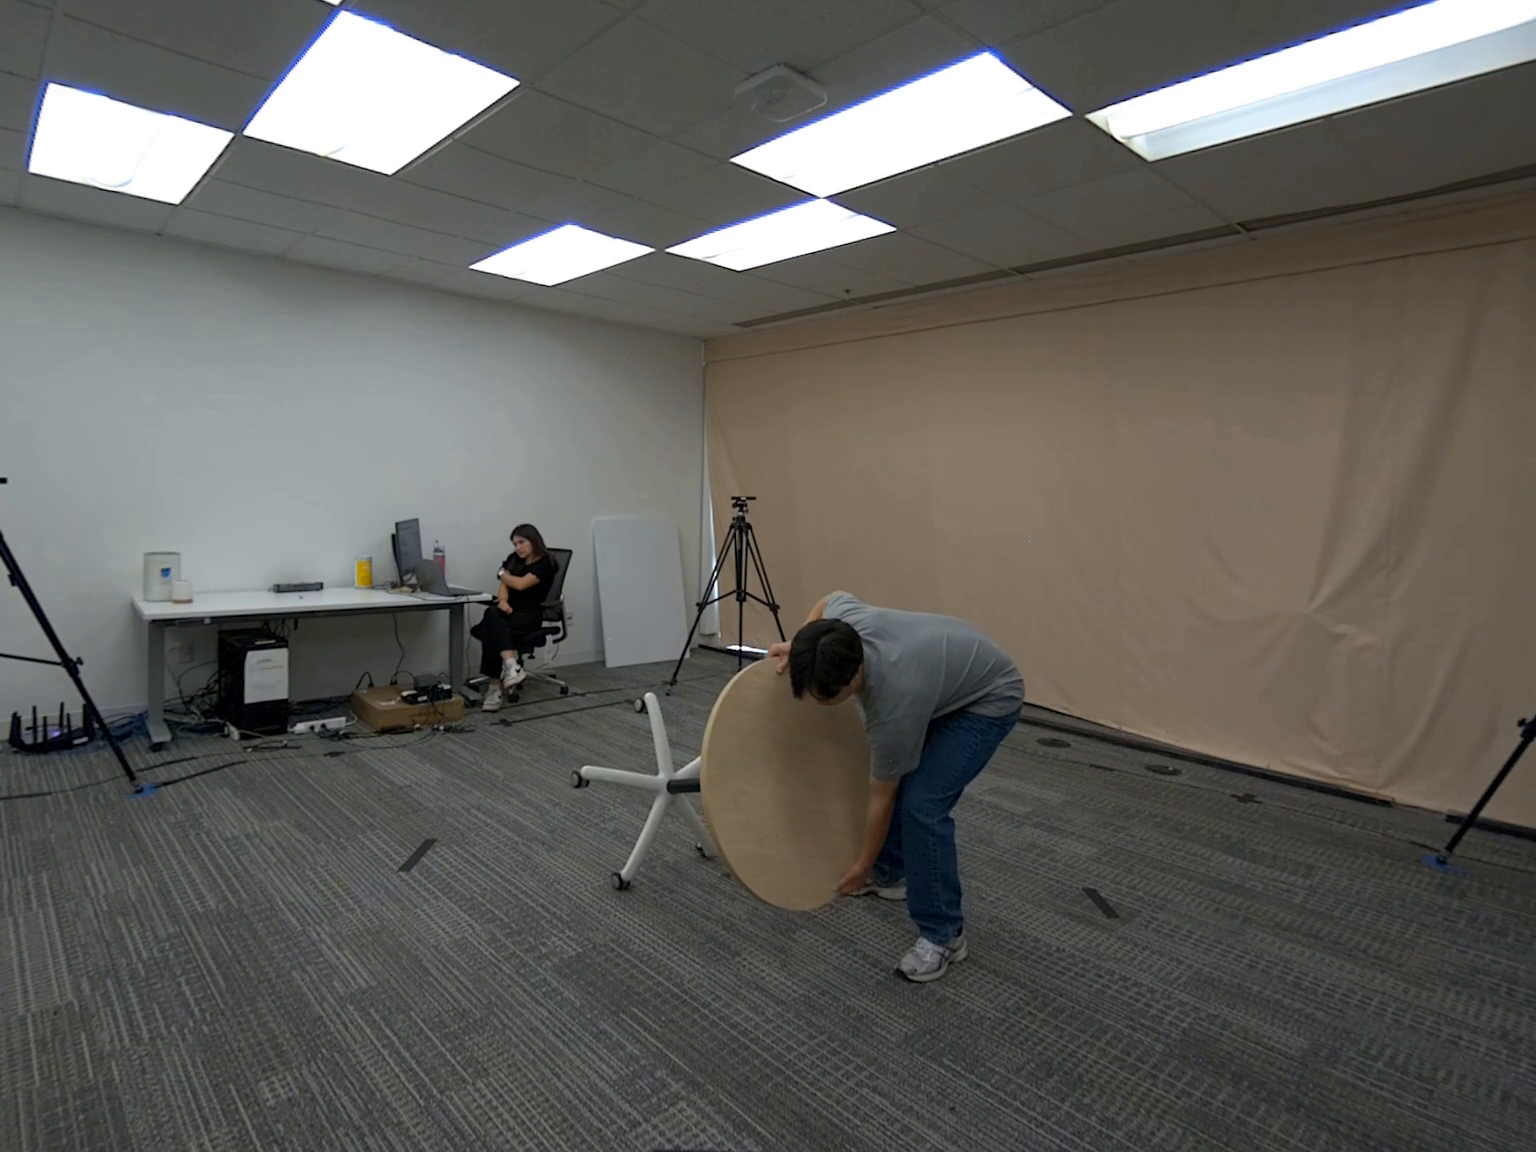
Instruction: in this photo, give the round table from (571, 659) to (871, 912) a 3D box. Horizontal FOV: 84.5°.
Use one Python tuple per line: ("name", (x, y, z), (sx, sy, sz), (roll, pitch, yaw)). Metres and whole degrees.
("round table", (-0.184, 0.724, 2.916), (0.746, 0.770, 0.806), (-3, -12, -45))
